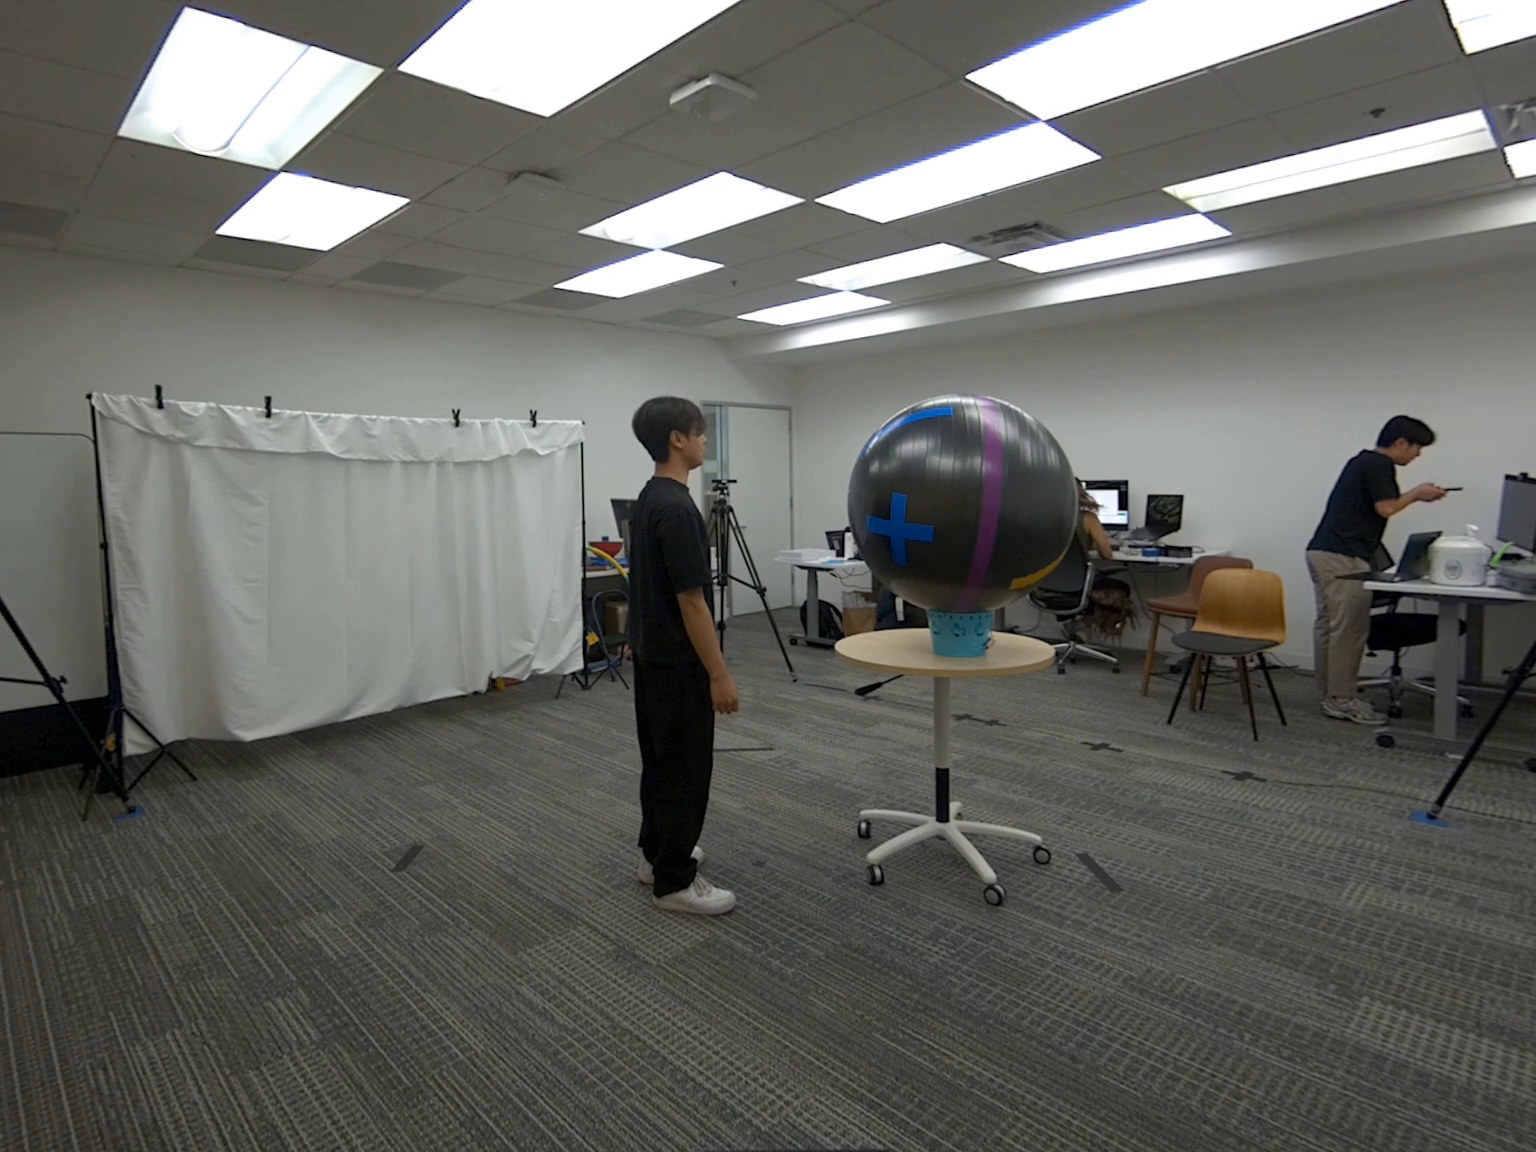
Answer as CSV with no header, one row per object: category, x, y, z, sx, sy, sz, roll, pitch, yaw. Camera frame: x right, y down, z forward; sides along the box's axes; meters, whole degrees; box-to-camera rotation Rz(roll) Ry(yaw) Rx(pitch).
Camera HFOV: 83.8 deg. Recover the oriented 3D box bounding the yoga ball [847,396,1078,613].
yoga ball,0.663,-0.245,2.959,0.757,0.755,0.762,-1,5,-2
